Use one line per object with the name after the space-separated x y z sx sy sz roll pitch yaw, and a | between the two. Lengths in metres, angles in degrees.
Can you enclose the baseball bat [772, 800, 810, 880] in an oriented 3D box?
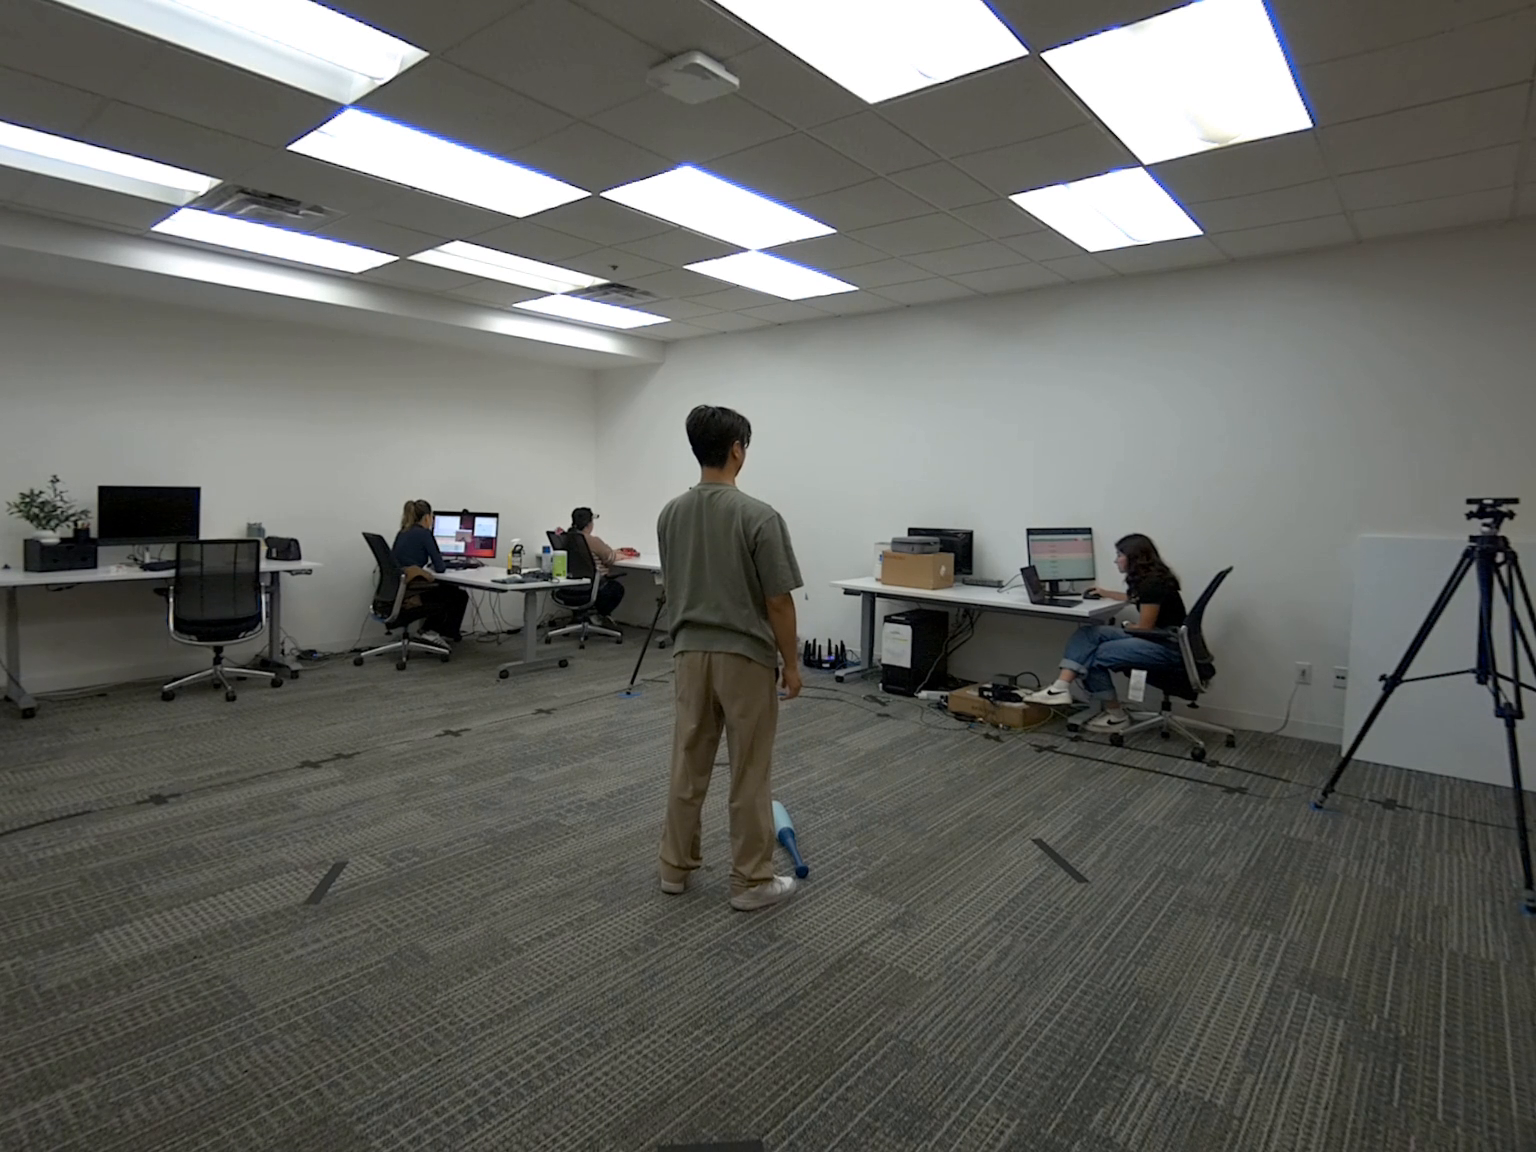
0.067 1.015 3.304 0.088 0.088 0.551 0 8 -11 | baseball bat
